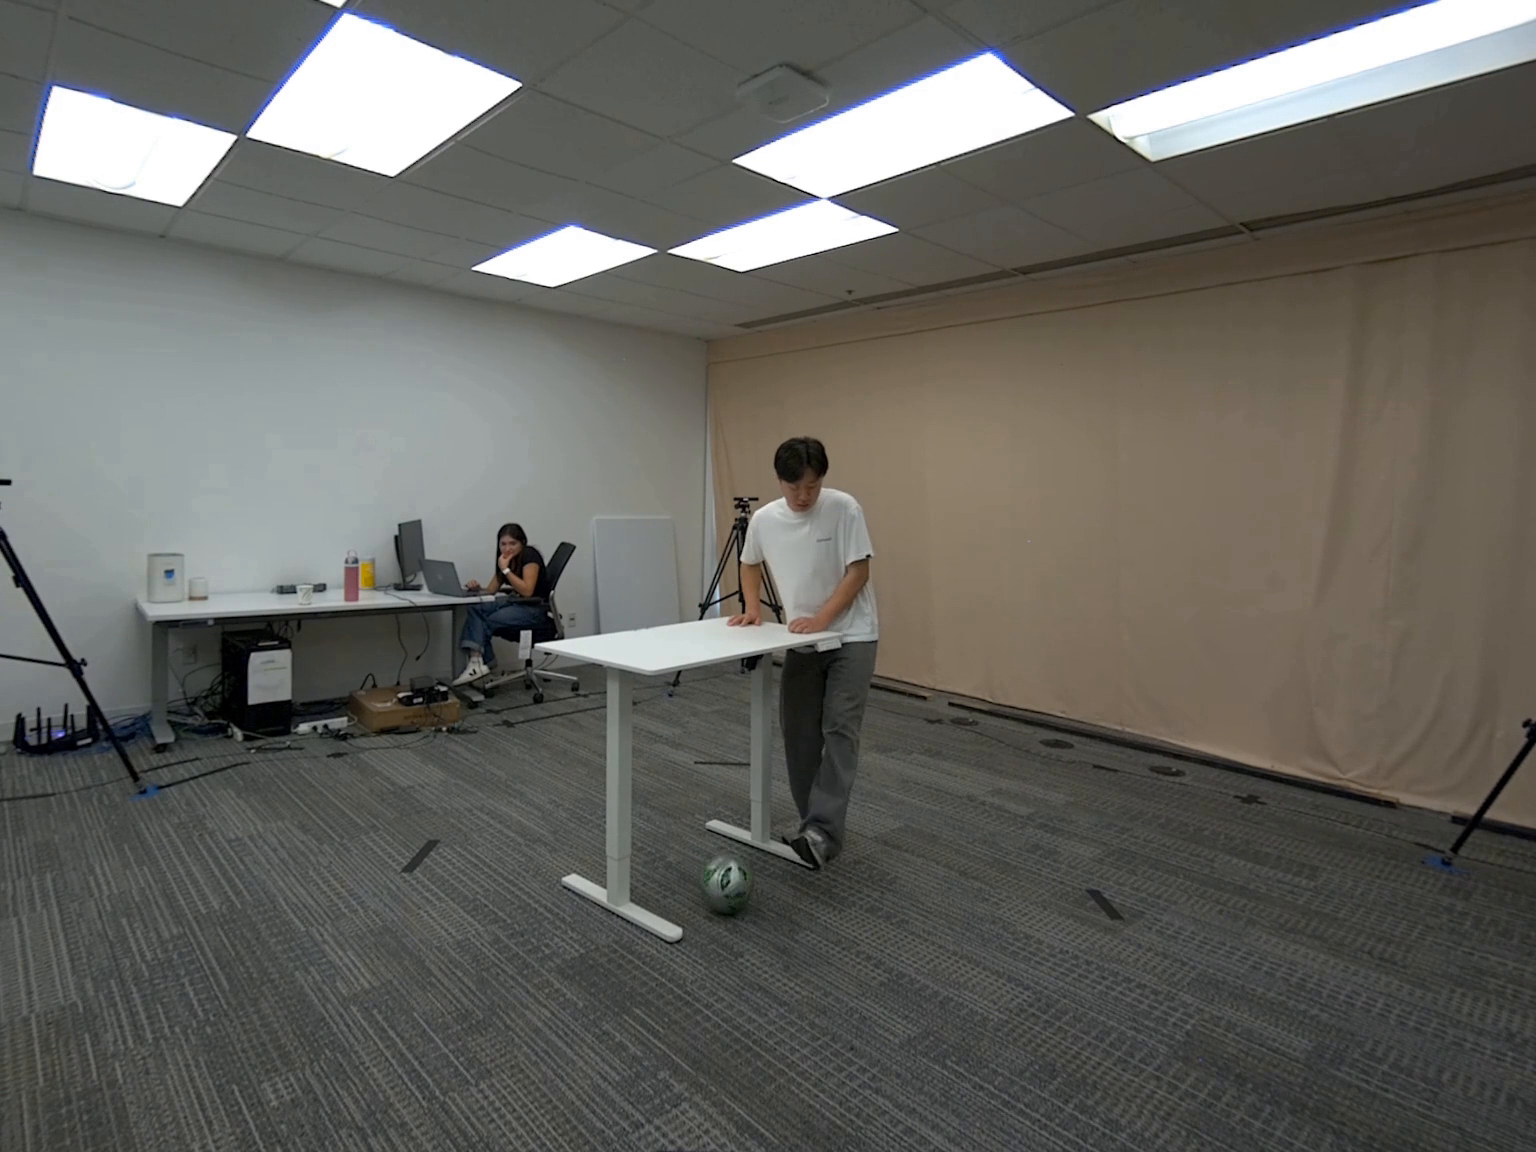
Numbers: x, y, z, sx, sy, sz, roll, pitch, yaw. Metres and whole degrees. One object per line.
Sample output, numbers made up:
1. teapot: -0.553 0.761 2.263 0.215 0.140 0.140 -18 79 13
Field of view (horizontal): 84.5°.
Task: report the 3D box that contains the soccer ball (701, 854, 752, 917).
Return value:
1. soccer ball: -0.144 1.038 2.836 0.187 0.187 0.188 1 4 -1
